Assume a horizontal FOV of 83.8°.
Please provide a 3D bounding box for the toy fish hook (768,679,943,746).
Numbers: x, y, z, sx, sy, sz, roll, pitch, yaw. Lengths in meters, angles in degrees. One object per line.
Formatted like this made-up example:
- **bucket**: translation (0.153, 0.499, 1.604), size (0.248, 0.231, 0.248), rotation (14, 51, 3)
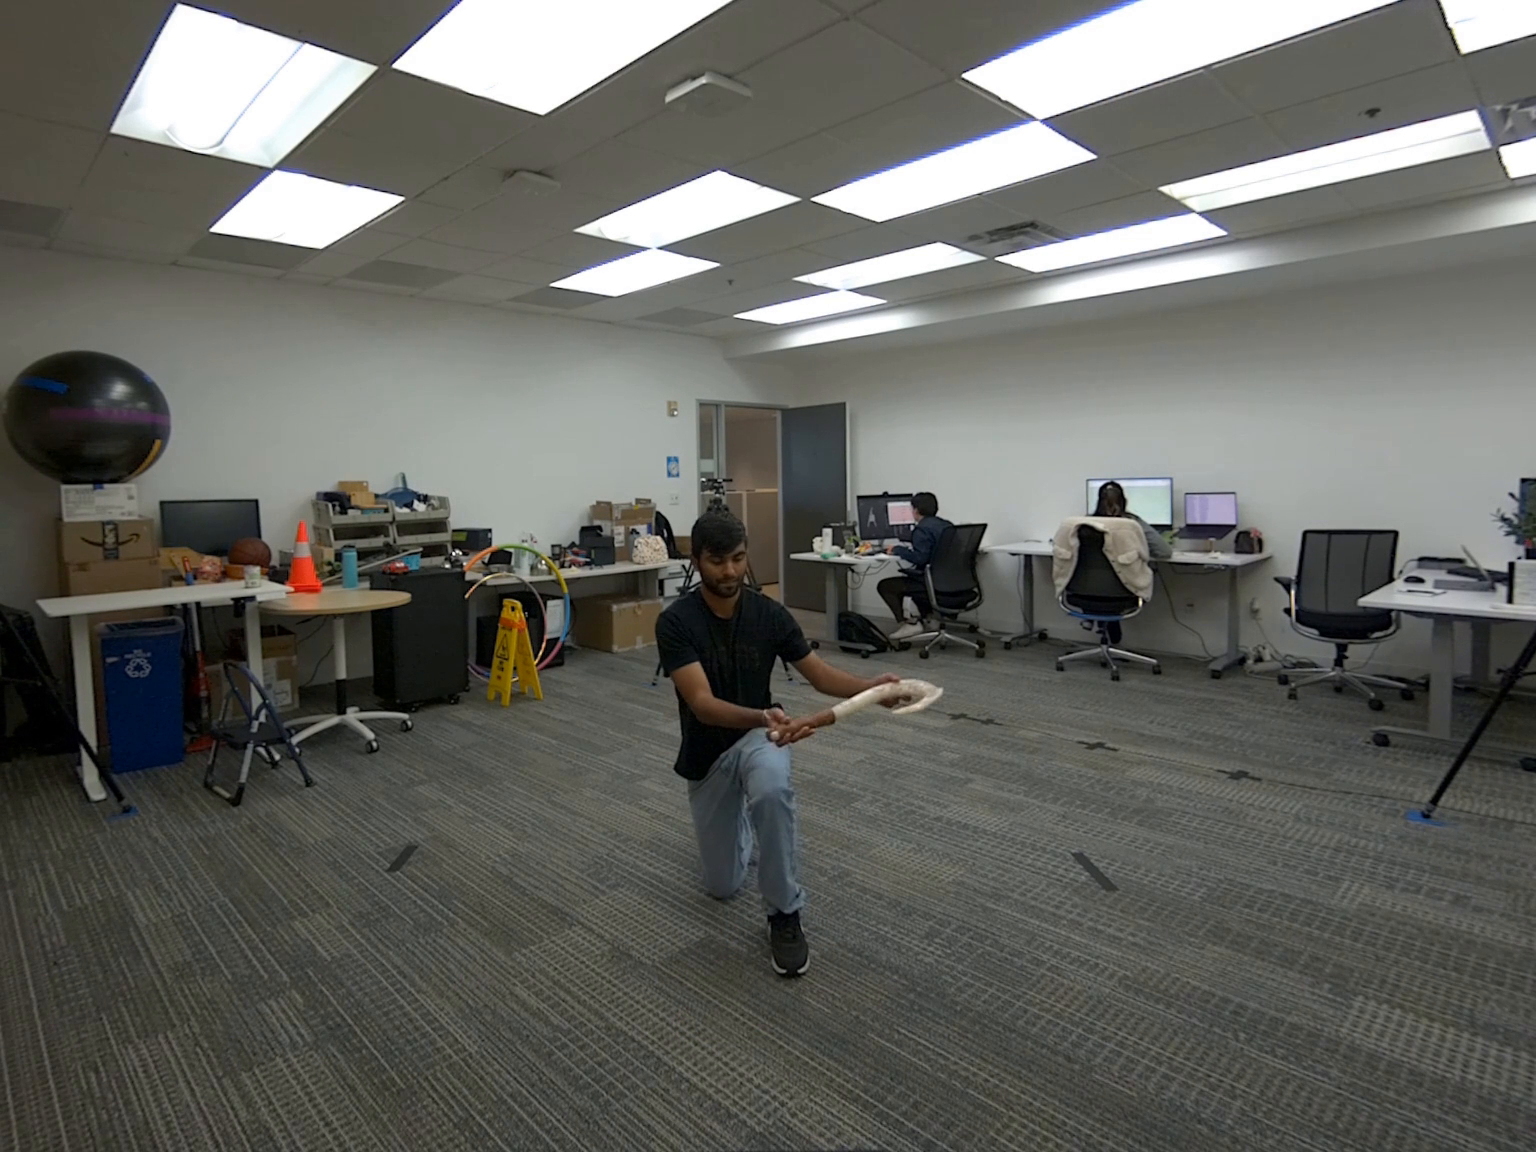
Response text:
- **toy fish hook**: translation (0.218, 0.365, 2.307), size (0.499, 0.048, 0.229), rotation (-15, 6, -22)
